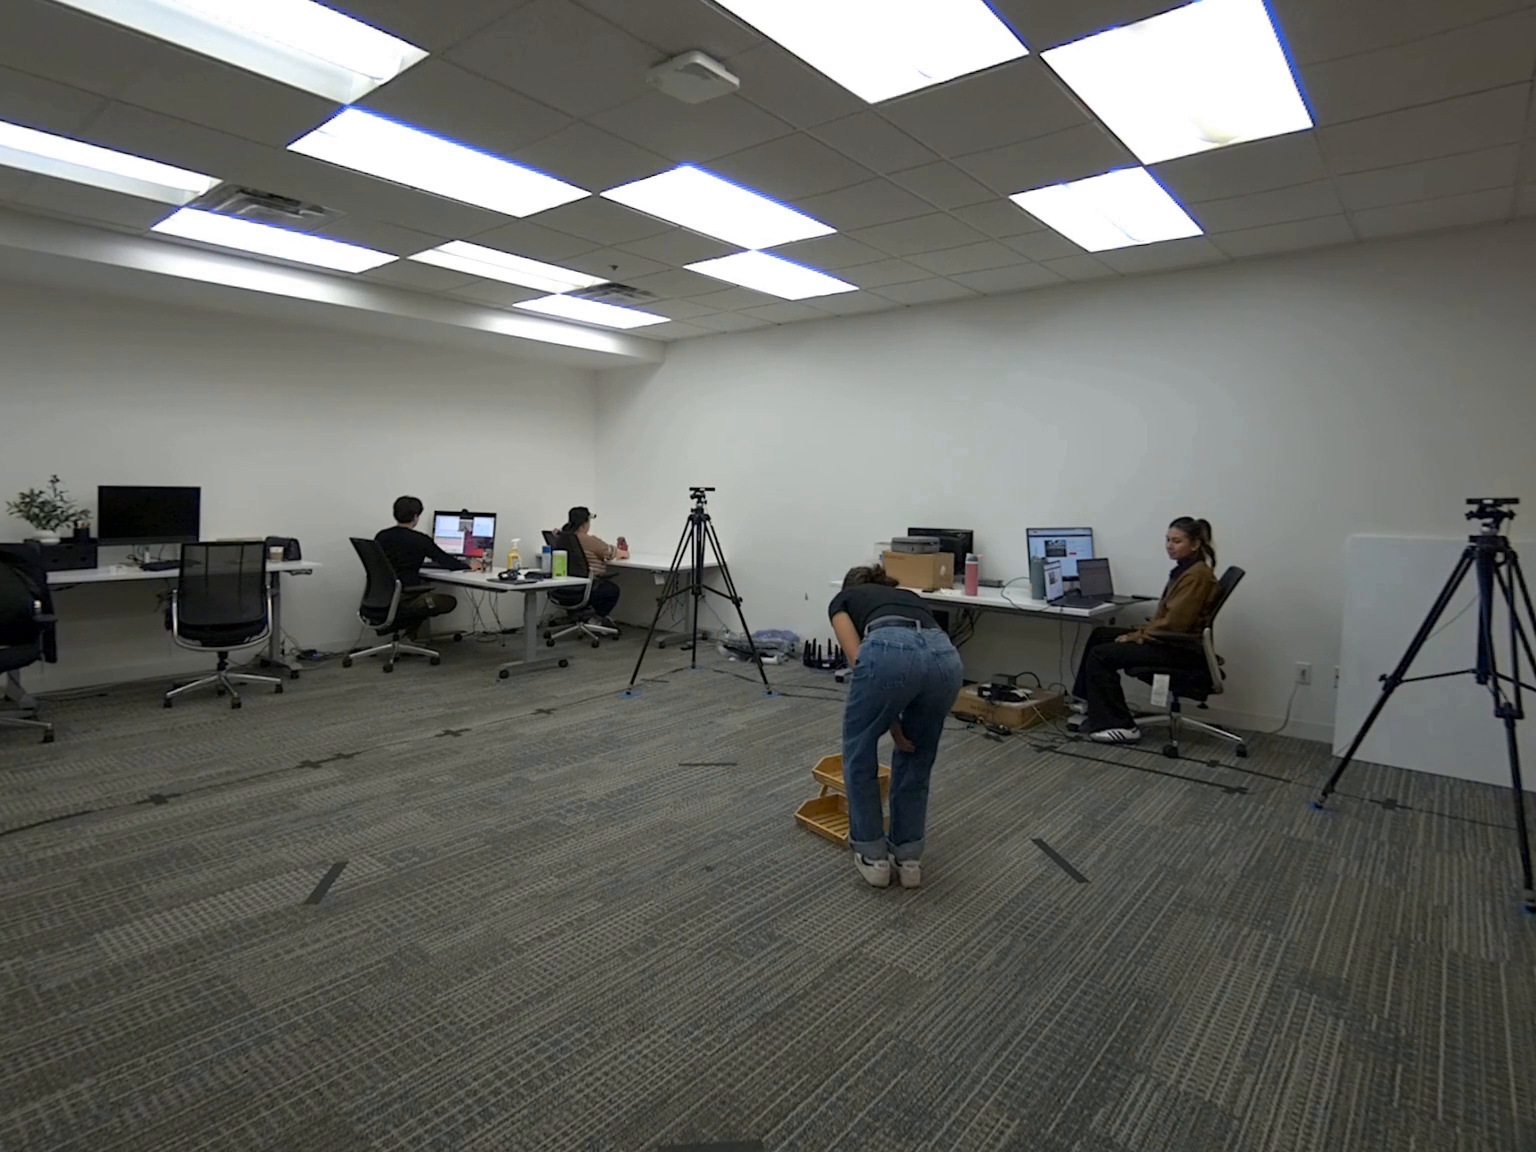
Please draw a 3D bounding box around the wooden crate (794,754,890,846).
[{"bbox_3d":[0.314,0.905,3.491,0.293,0.272,0.335,-1,5,-38],"label":"wooden crate"}]
